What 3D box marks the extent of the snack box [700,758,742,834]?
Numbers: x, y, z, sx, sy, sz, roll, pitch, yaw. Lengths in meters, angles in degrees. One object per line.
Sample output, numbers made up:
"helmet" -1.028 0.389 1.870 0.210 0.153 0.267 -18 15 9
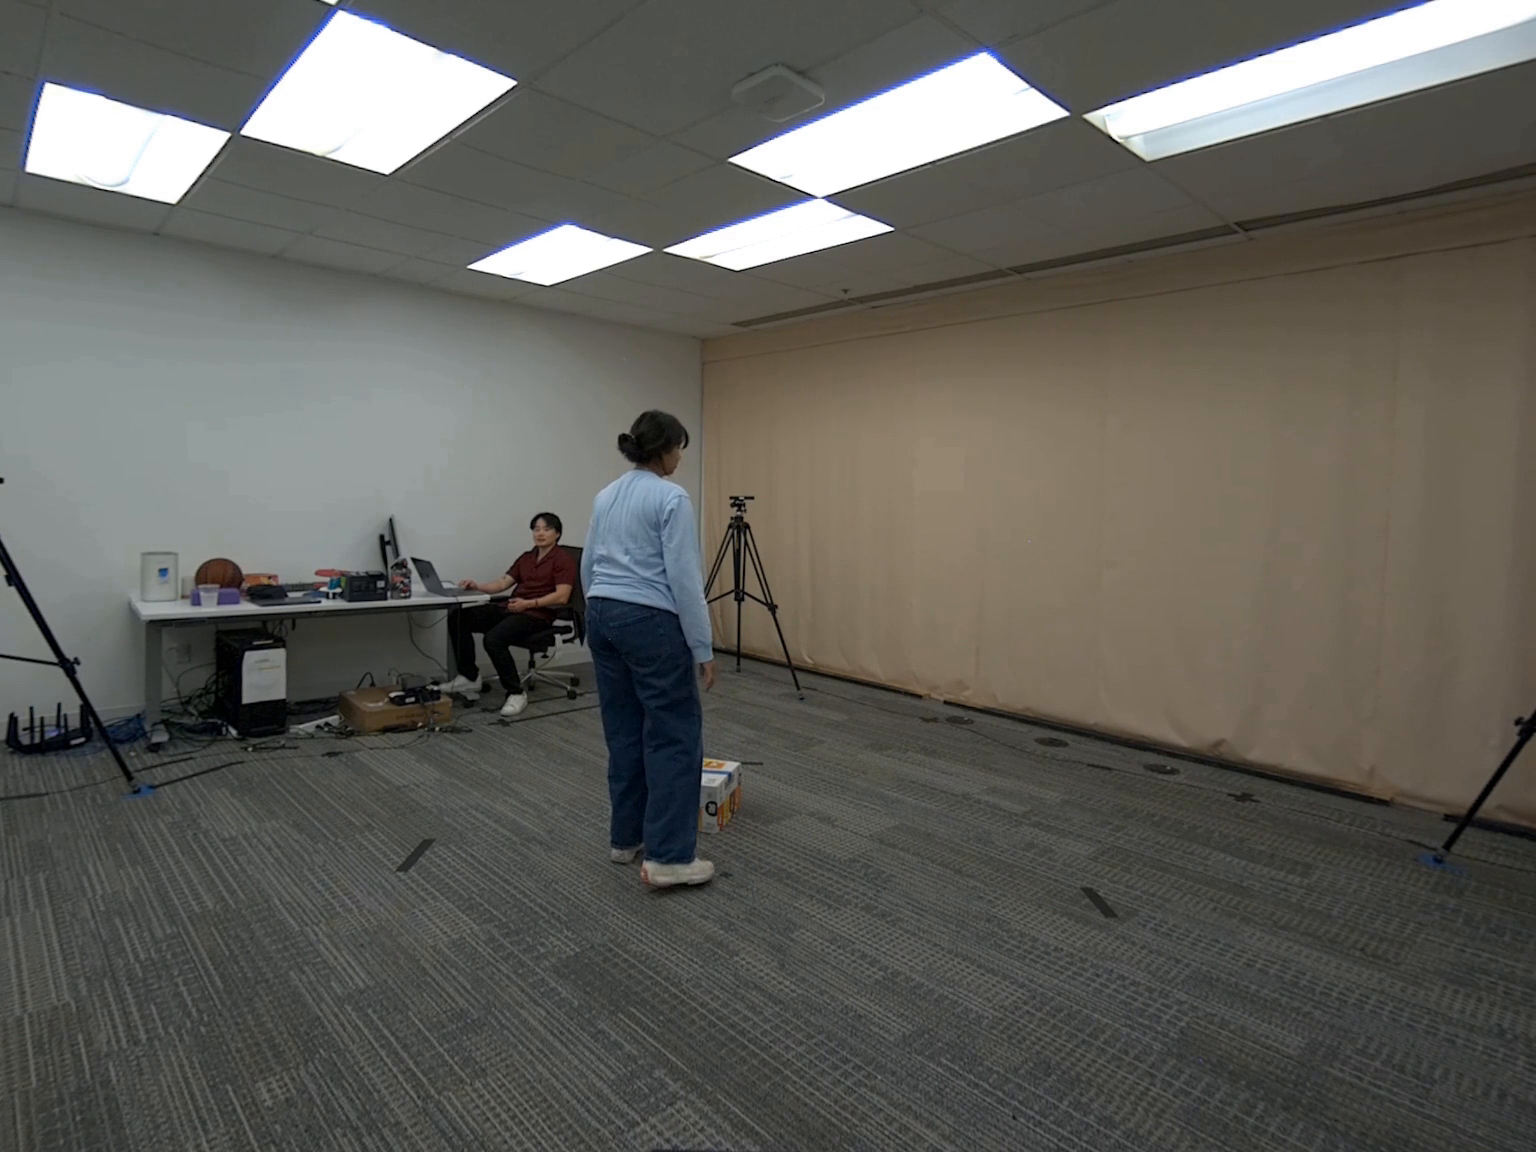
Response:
"snack box" -0.377 0.951 3.698 0.411 0.205 0.336 3 5 16
